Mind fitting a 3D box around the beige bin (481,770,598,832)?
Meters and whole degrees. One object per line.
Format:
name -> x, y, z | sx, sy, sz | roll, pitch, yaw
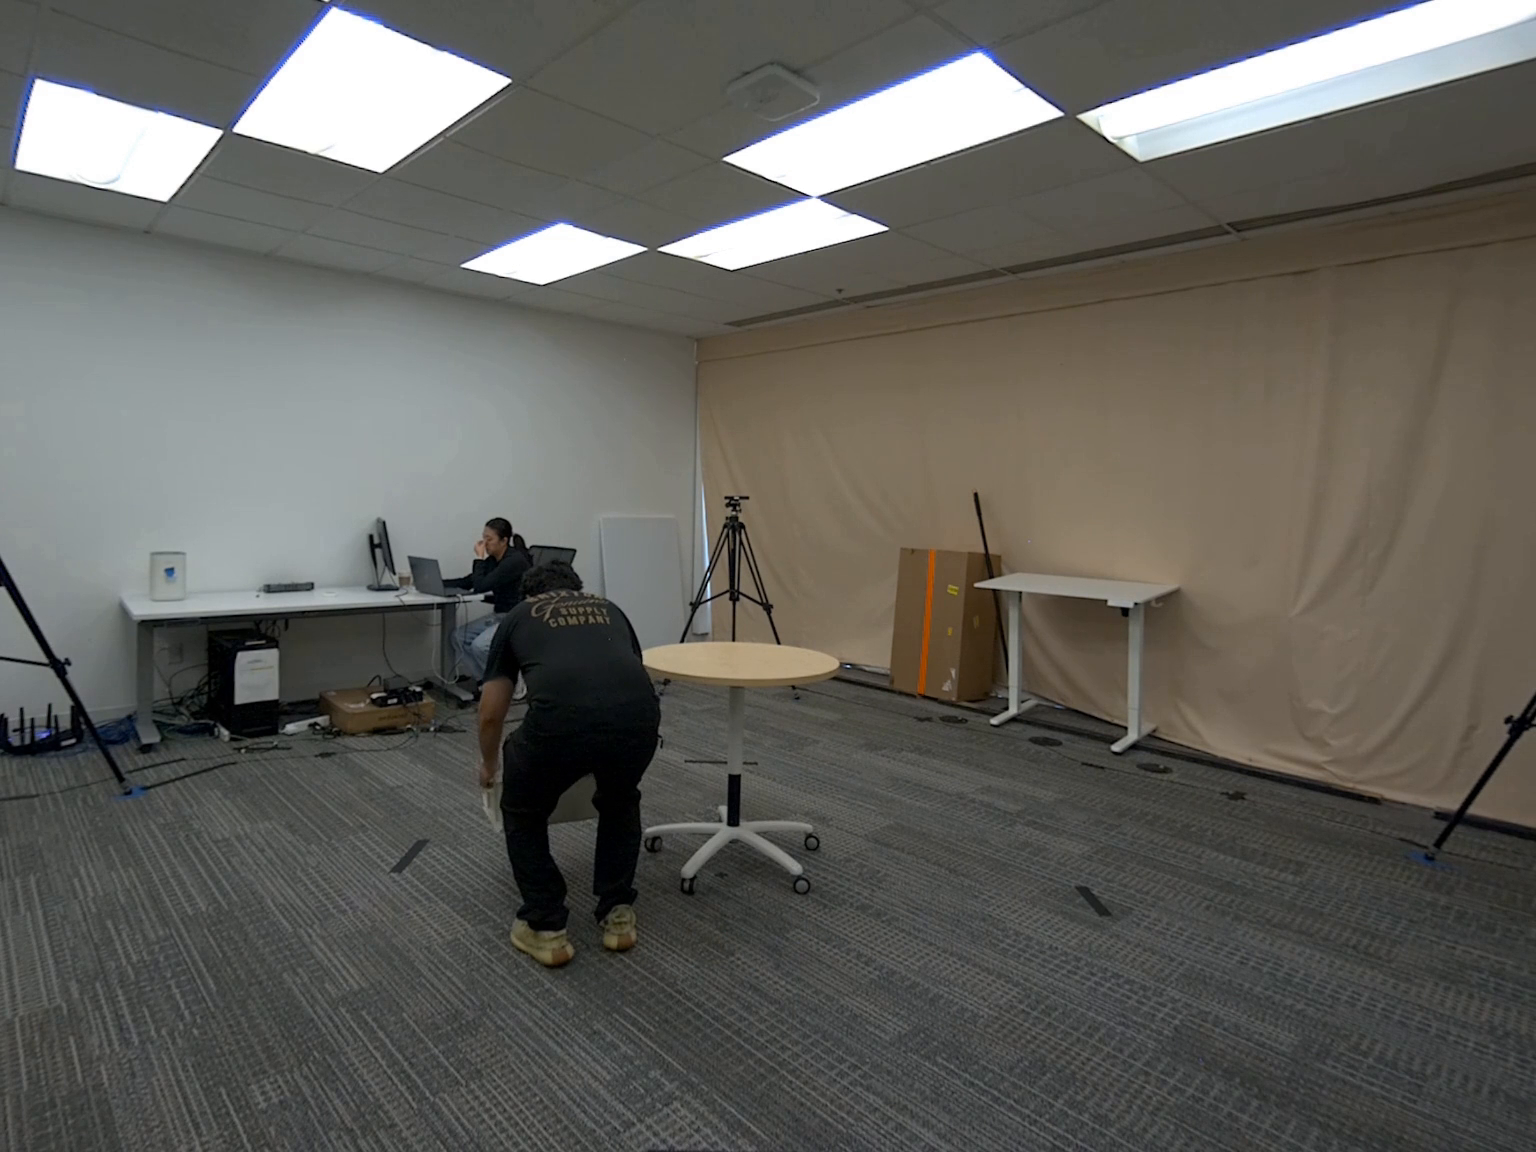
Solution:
beige bin -> -0.803, 0.764, 3.025 | 0.414, 0.189, 0.385 | 1, 2, -28
